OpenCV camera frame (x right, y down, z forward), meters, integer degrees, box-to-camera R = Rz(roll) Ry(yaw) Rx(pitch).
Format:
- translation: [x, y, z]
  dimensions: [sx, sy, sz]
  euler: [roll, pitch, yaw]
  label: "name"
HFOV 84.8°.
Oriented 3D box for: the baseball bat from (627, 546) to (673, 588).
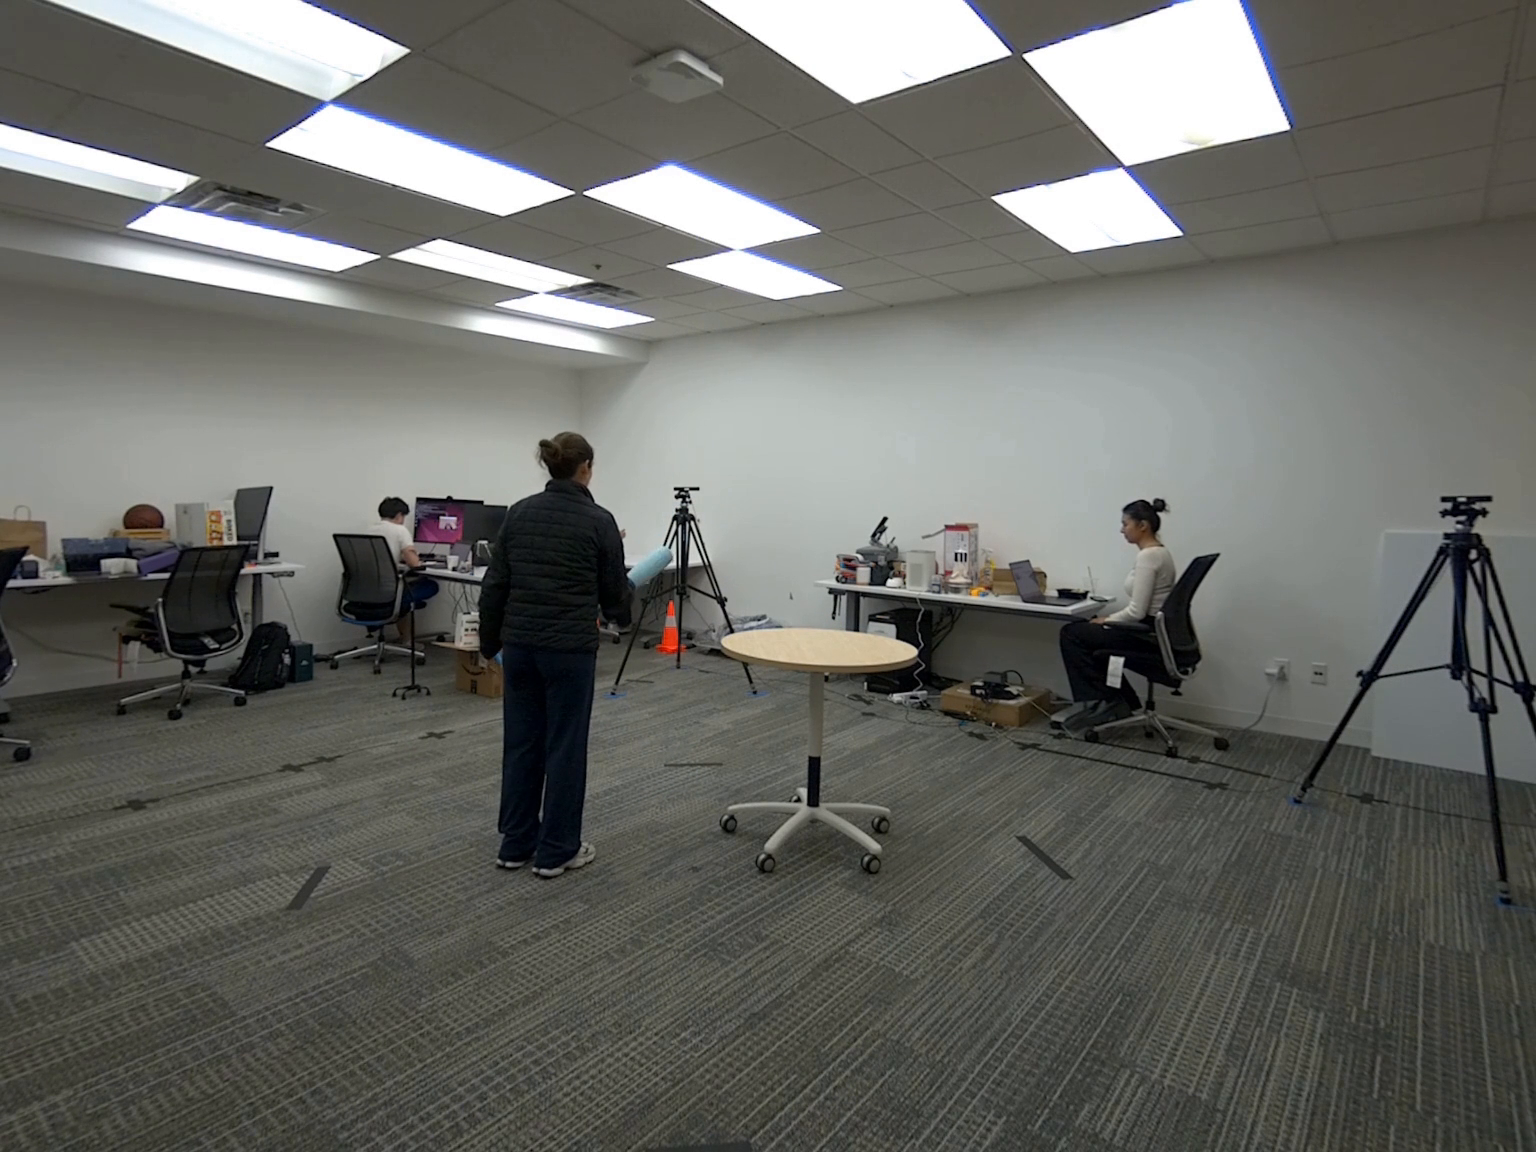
- translation: [-0.569, 0.021, 3.560]
  dimensions: [0.092, 0.086, 0.541]
  euler: [4, 37, 40]
  label: "baseball bat"
